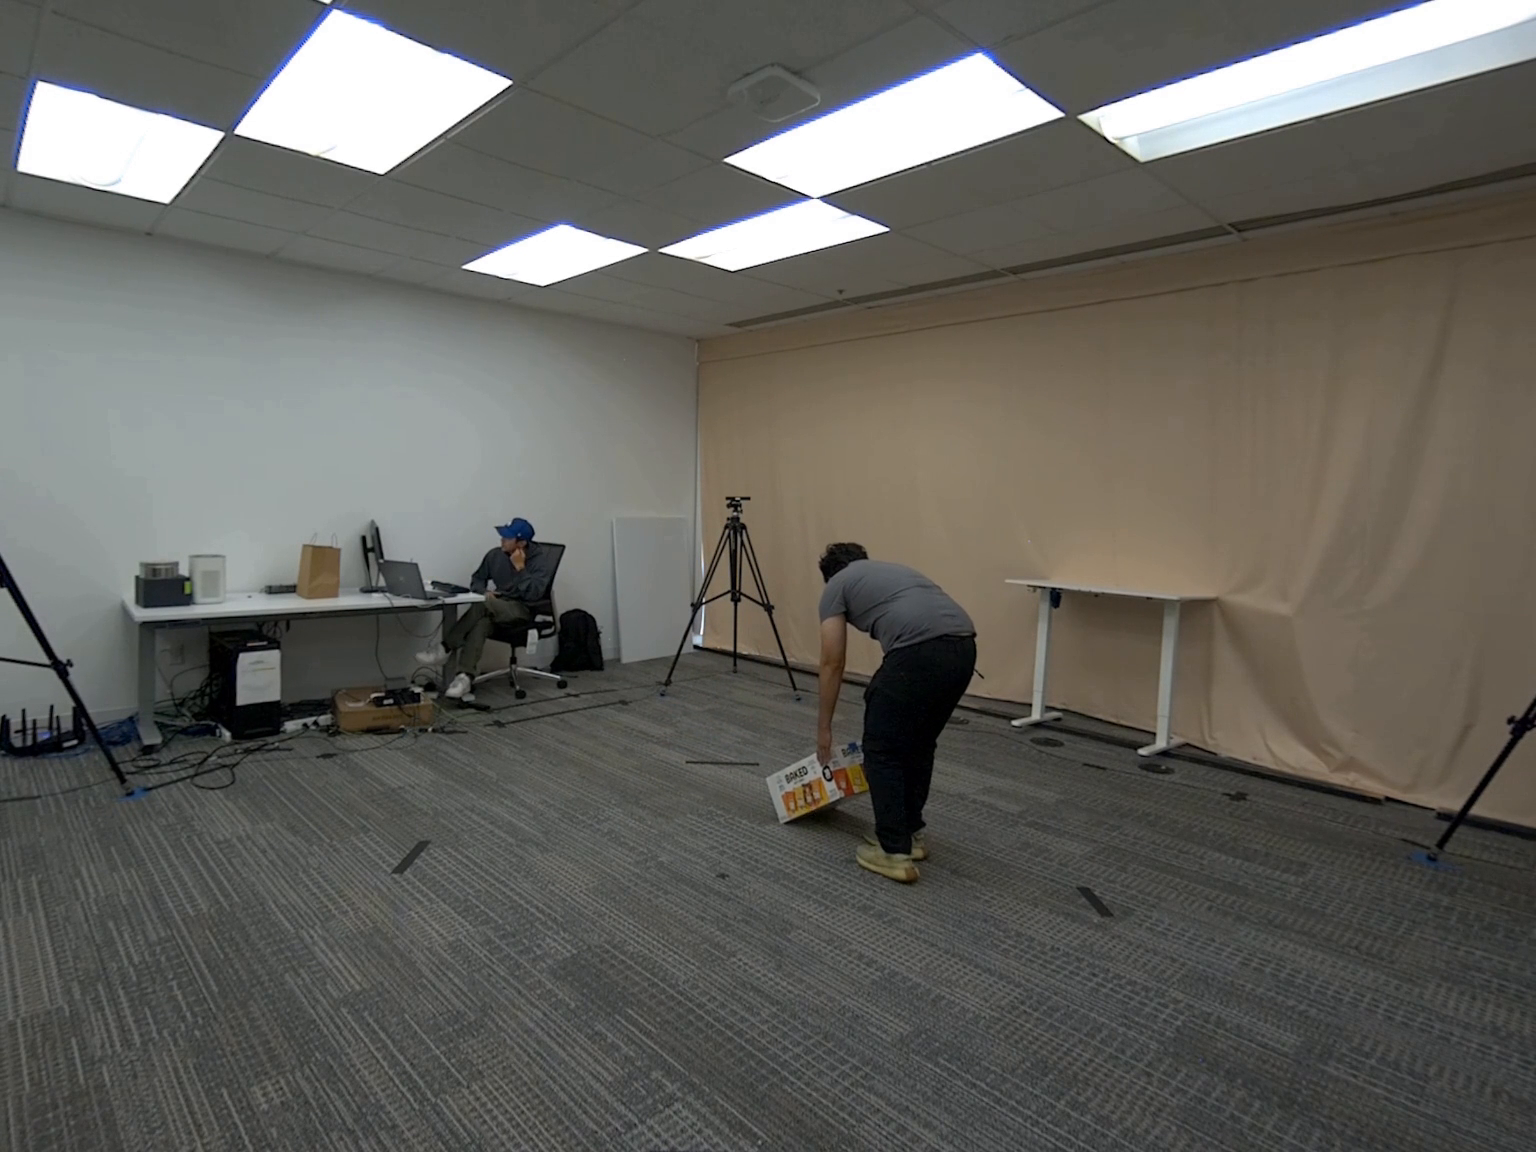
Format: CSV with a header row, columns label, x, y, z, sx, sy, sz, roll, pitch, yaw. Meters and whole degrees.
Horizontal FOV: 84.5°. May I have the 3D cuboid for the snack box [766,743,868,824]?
label,x,y,z,sx,sy,sz,roll,pitch,yaw
snack box,0.259,0.880,3.631,0.332,0.210,0.406,-1,-27,-40
